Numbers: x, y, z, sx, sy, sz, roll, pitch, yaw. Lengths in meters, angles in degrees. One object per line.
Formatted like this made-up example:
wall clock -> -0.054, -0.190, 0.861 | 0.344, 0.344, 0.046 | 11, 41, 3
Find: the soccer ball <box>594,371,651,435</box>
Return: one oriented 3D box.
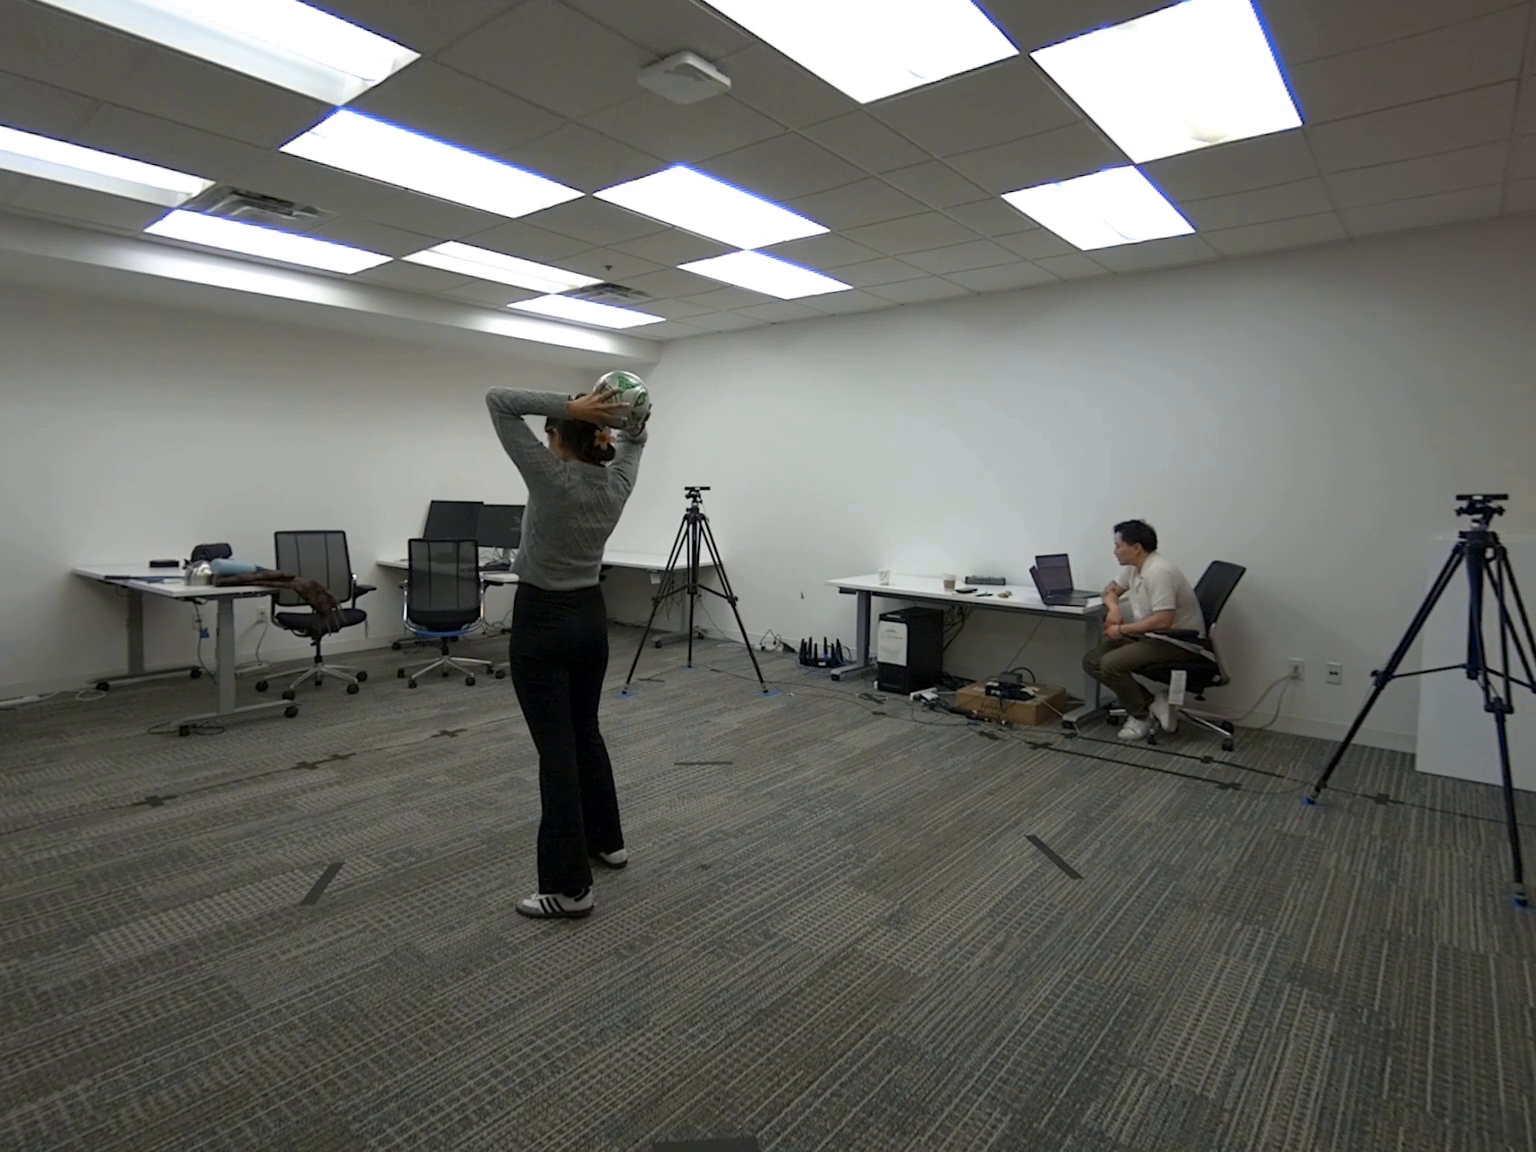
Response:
soccer ball -> -0.489, -0.571, 2.737 | 0.187, 0.187, 0.188 | 0, 4, -2
